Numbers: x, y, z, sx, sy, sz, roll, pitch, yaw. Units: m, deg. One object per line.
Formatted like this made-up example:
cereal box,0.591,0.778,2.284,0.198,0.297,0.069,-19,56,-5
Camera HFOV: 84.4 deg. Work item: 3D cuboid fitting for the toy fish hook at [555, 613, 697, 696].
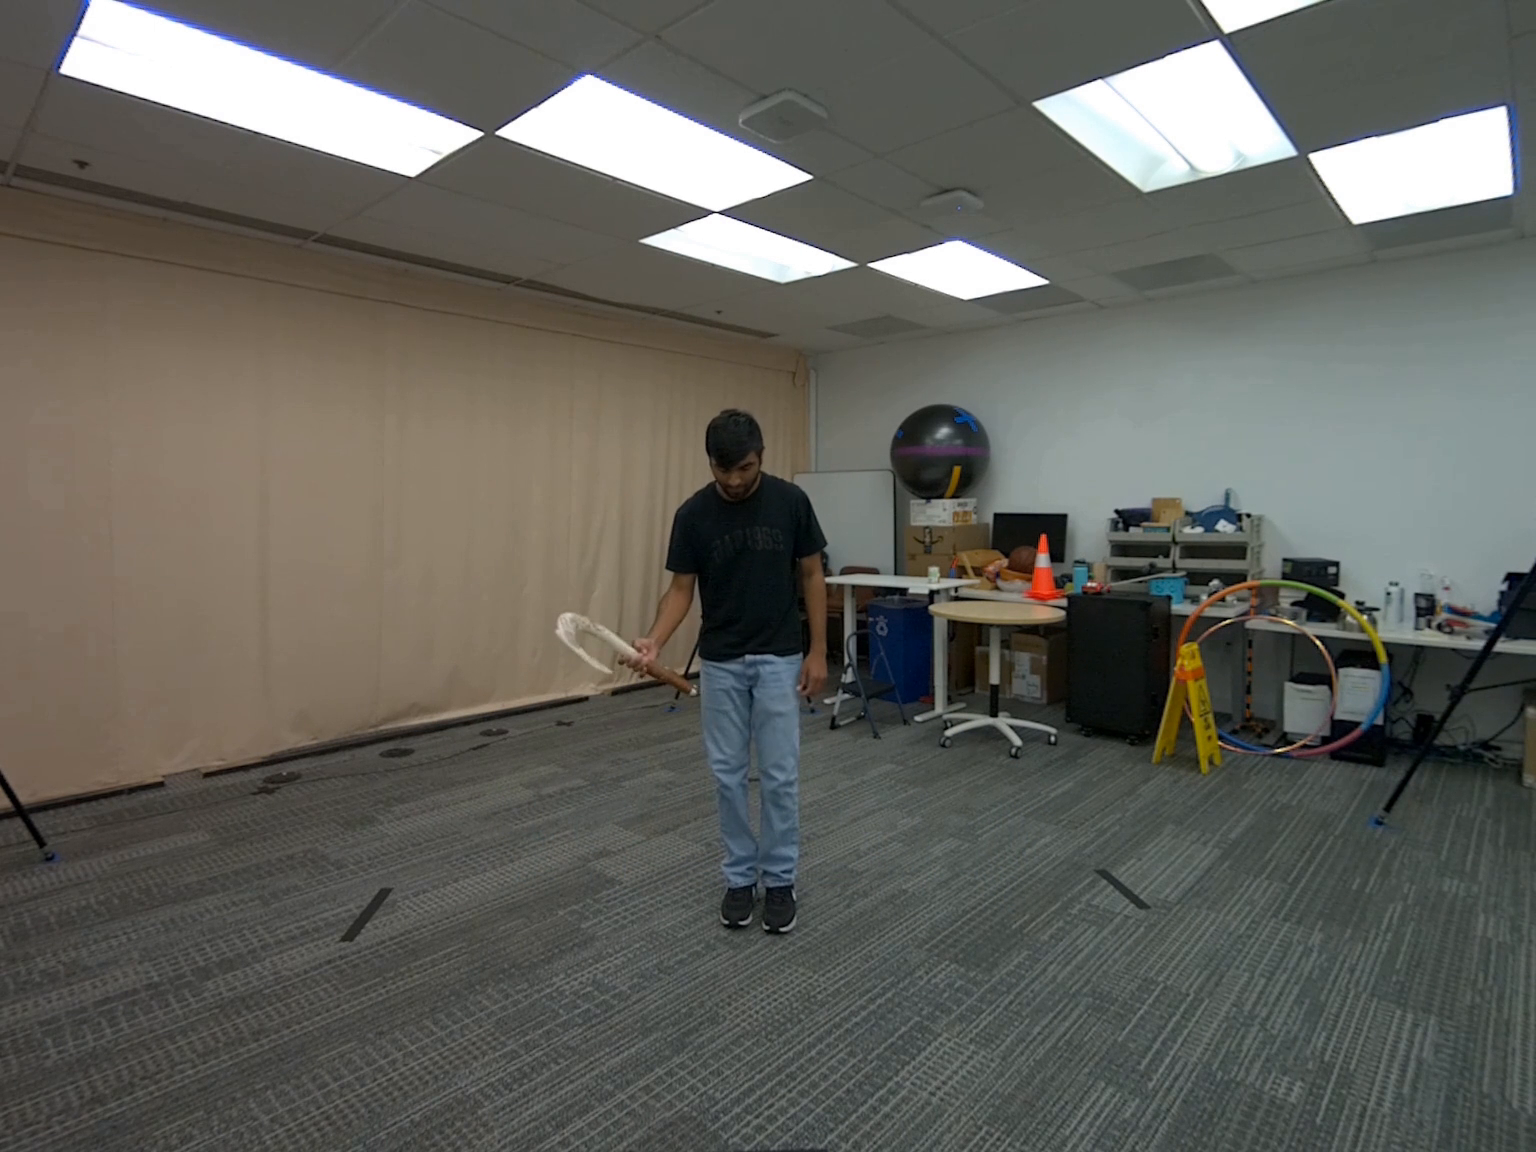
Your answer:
toy fish hook,-0.411,0.284,2.504,0.496,0.048,0.228,31,25,-18
